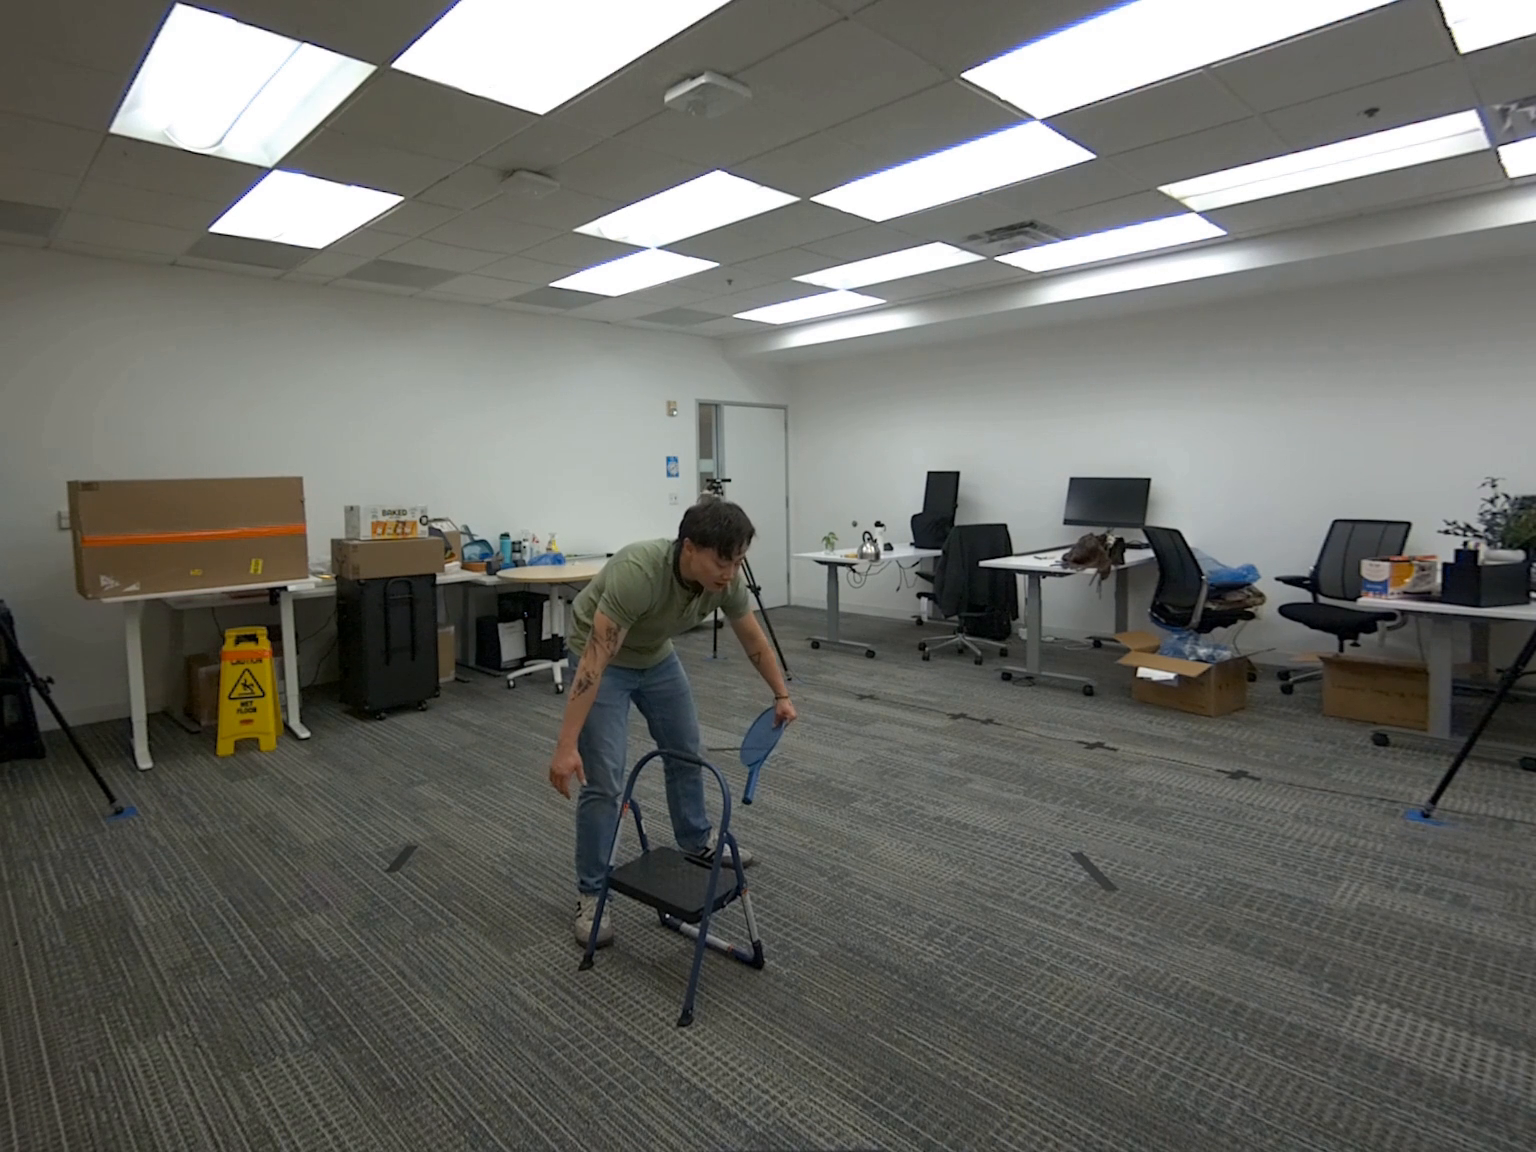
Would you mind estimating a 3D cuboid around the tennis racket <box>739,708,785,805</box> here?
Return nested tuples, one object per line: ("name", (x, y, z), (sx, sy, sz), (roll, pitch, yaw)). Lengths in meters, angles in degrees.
("tennis racket", (-0.047, 0.595, 2.882), (0.215, 0.031, 0.439), (-36, 20, 30))
